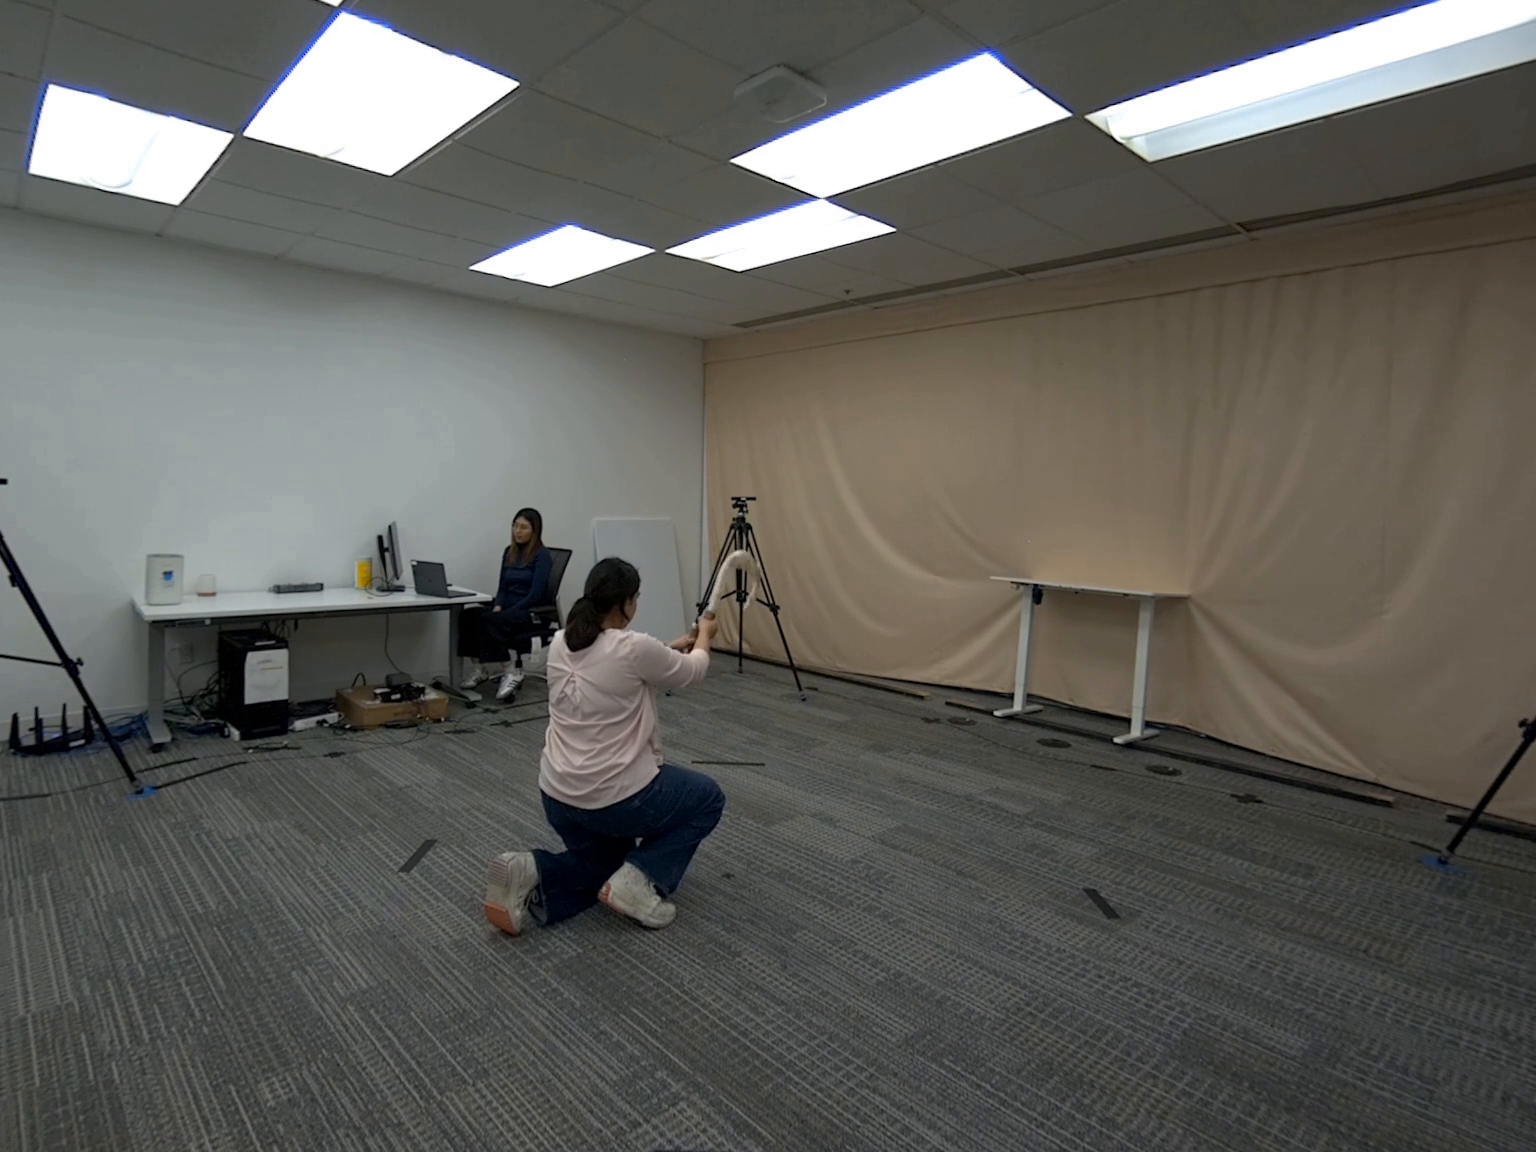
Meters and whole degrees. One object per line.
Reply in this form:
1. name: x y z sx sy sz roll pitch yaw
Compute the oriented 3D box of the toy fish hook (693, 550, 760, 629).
1. toy fish hook: -0.190 0.136 3.305 0.219 0.509 0.049 43 -28 -27
